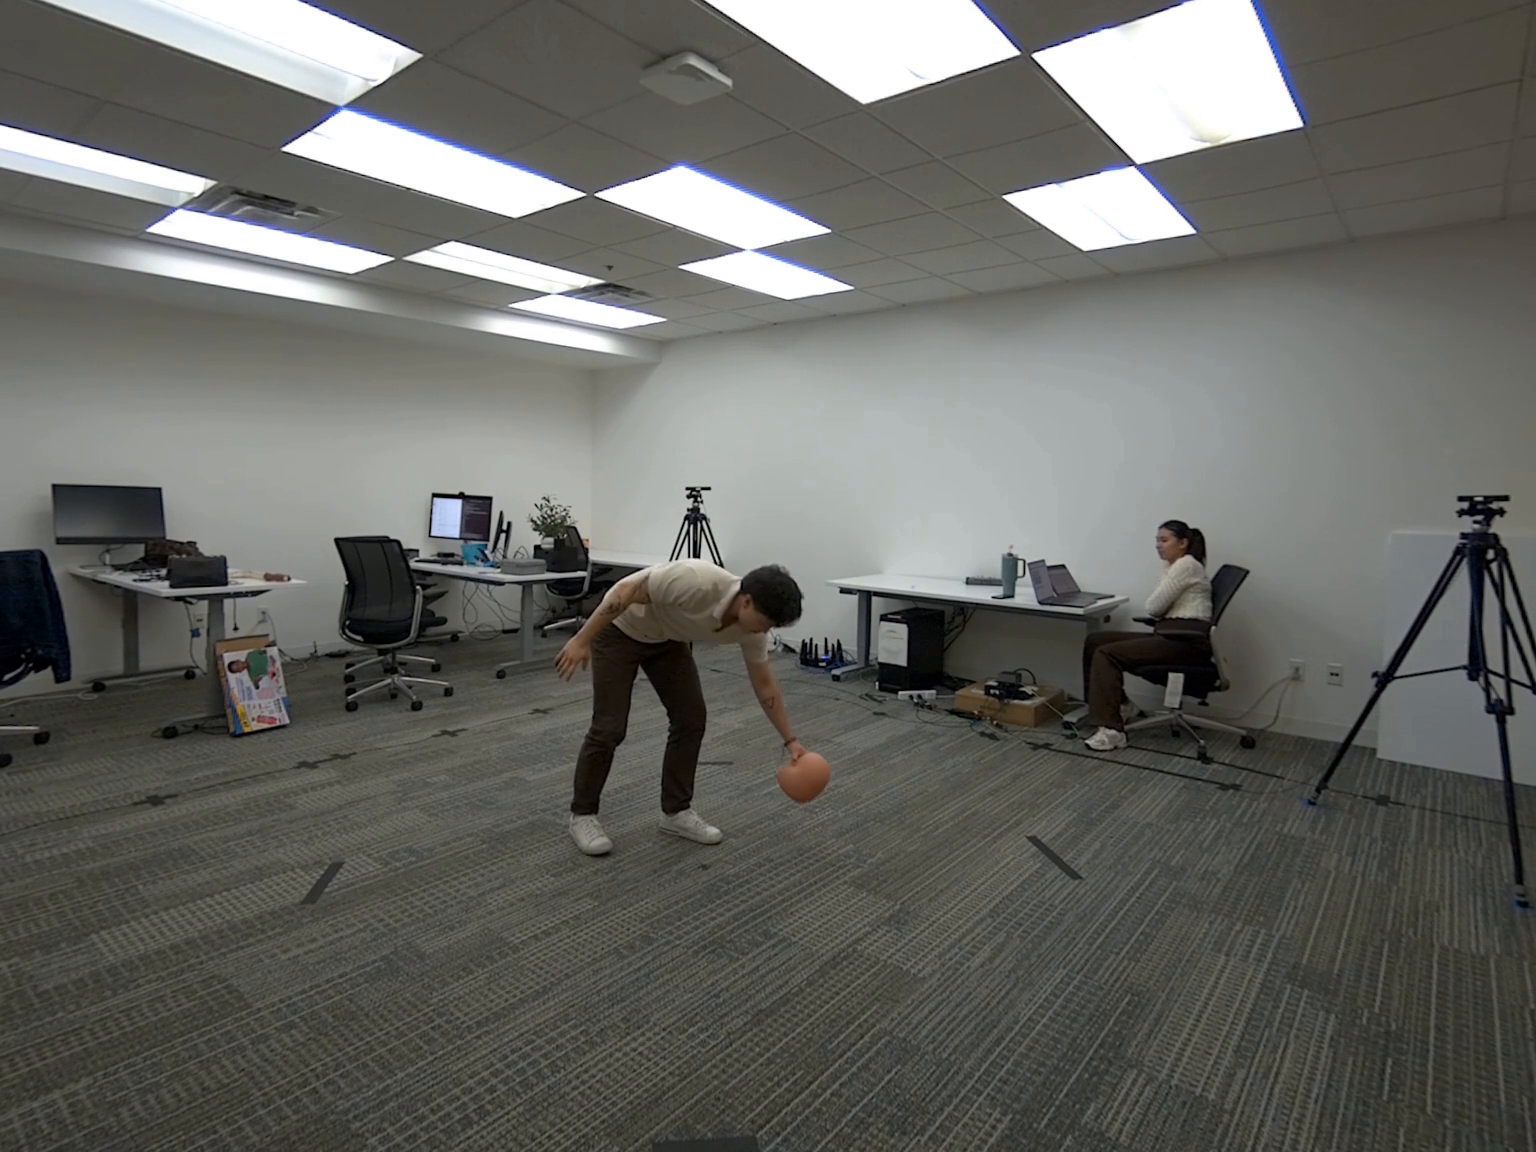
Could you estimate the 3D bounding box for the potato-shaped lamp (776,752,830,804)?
[{"bbox_3d":[0.132,0.762,3.327,0.158,0.198,0.179,39,12,-46],"label":"potato-shaped lamp"}]
